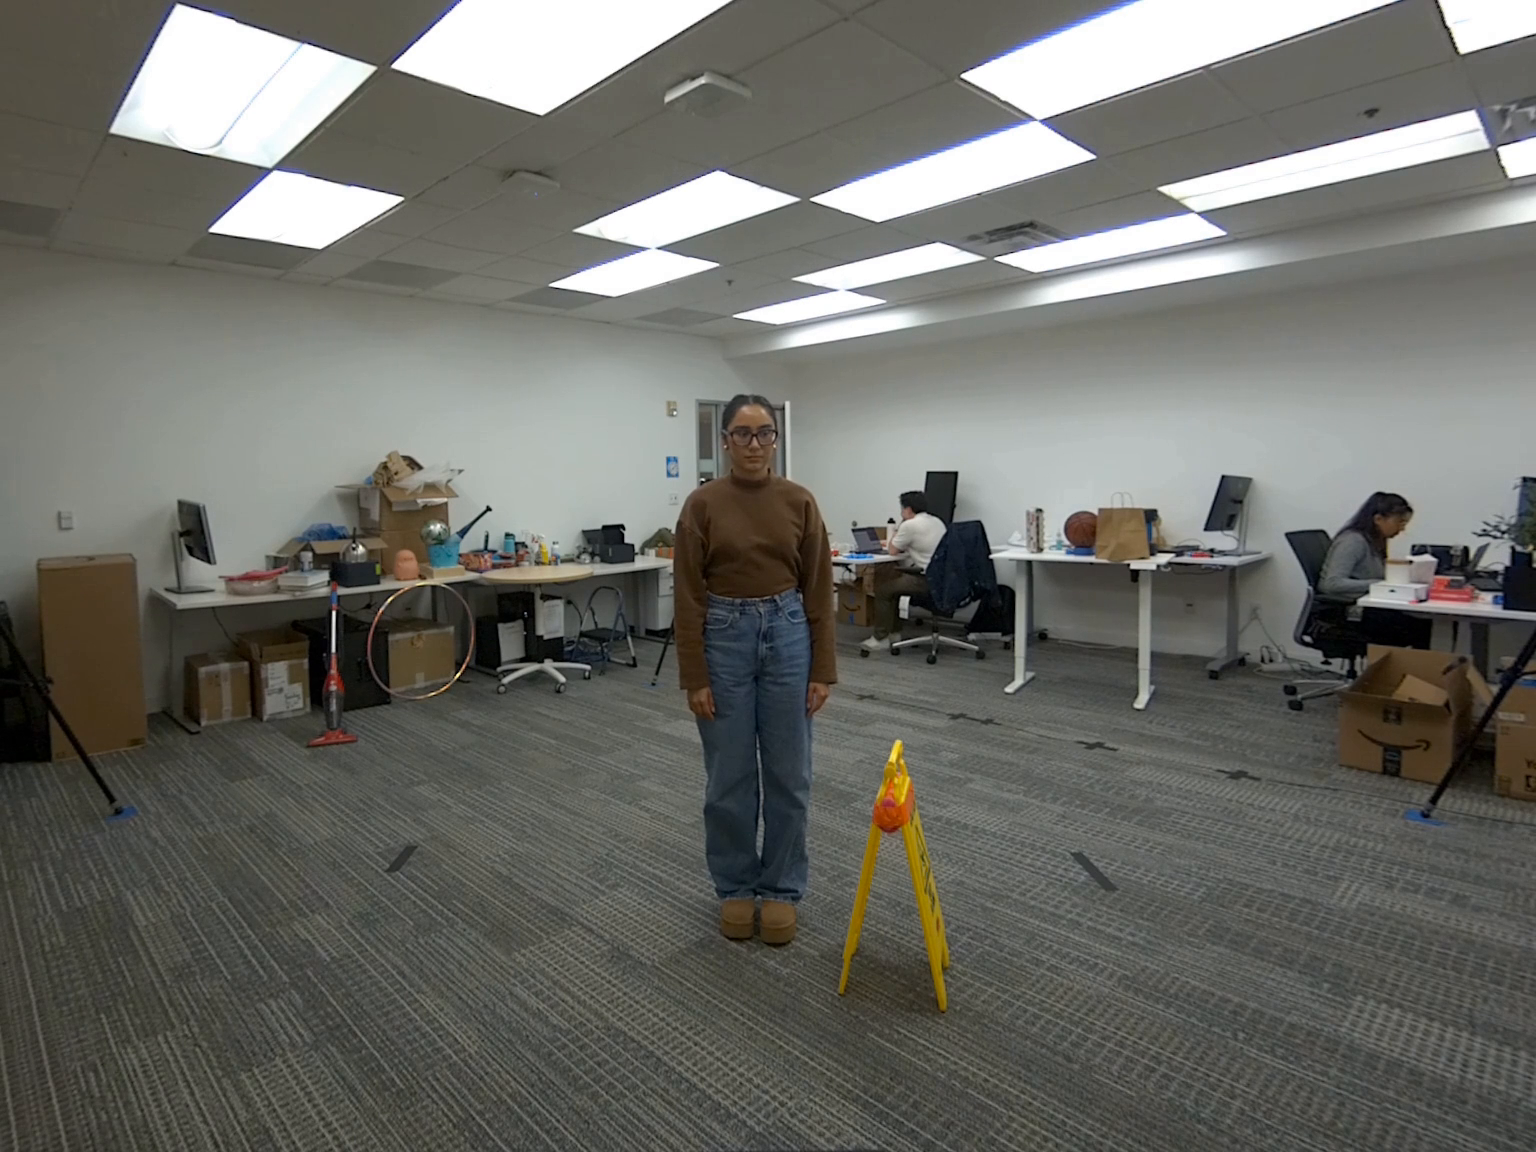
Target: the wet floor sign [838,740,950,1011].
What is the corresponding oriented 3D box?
[{"bbox_3d":[0.360,0.798,2.371,0.294,0.643,0.279,0,5,15],"label":"wet floor sign"}]
